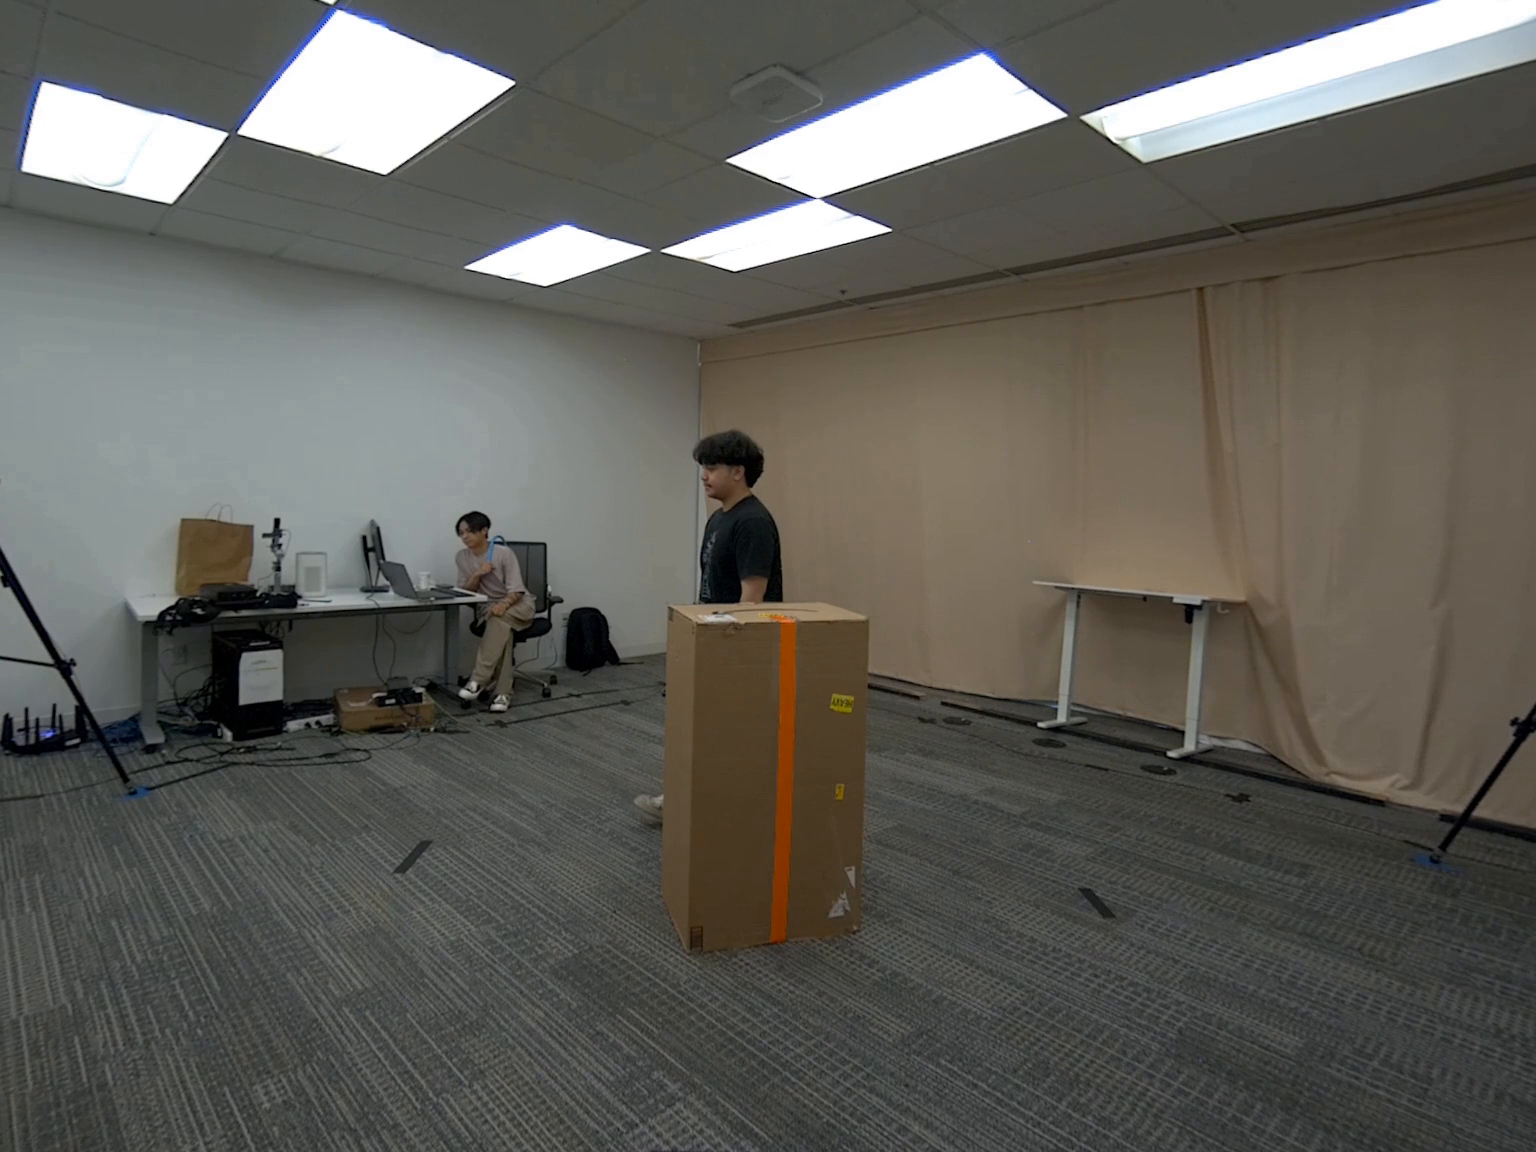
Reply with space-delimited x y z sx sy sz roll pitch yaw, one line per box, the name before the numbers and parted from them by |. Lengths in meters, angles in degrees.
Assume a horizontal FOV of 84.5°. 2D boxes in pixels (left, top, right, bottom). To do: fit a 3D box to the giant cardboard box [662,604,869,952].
giant cardboard box | -0.028 0.622 2.815 0.576 1.024 0.454 0 4 -17
